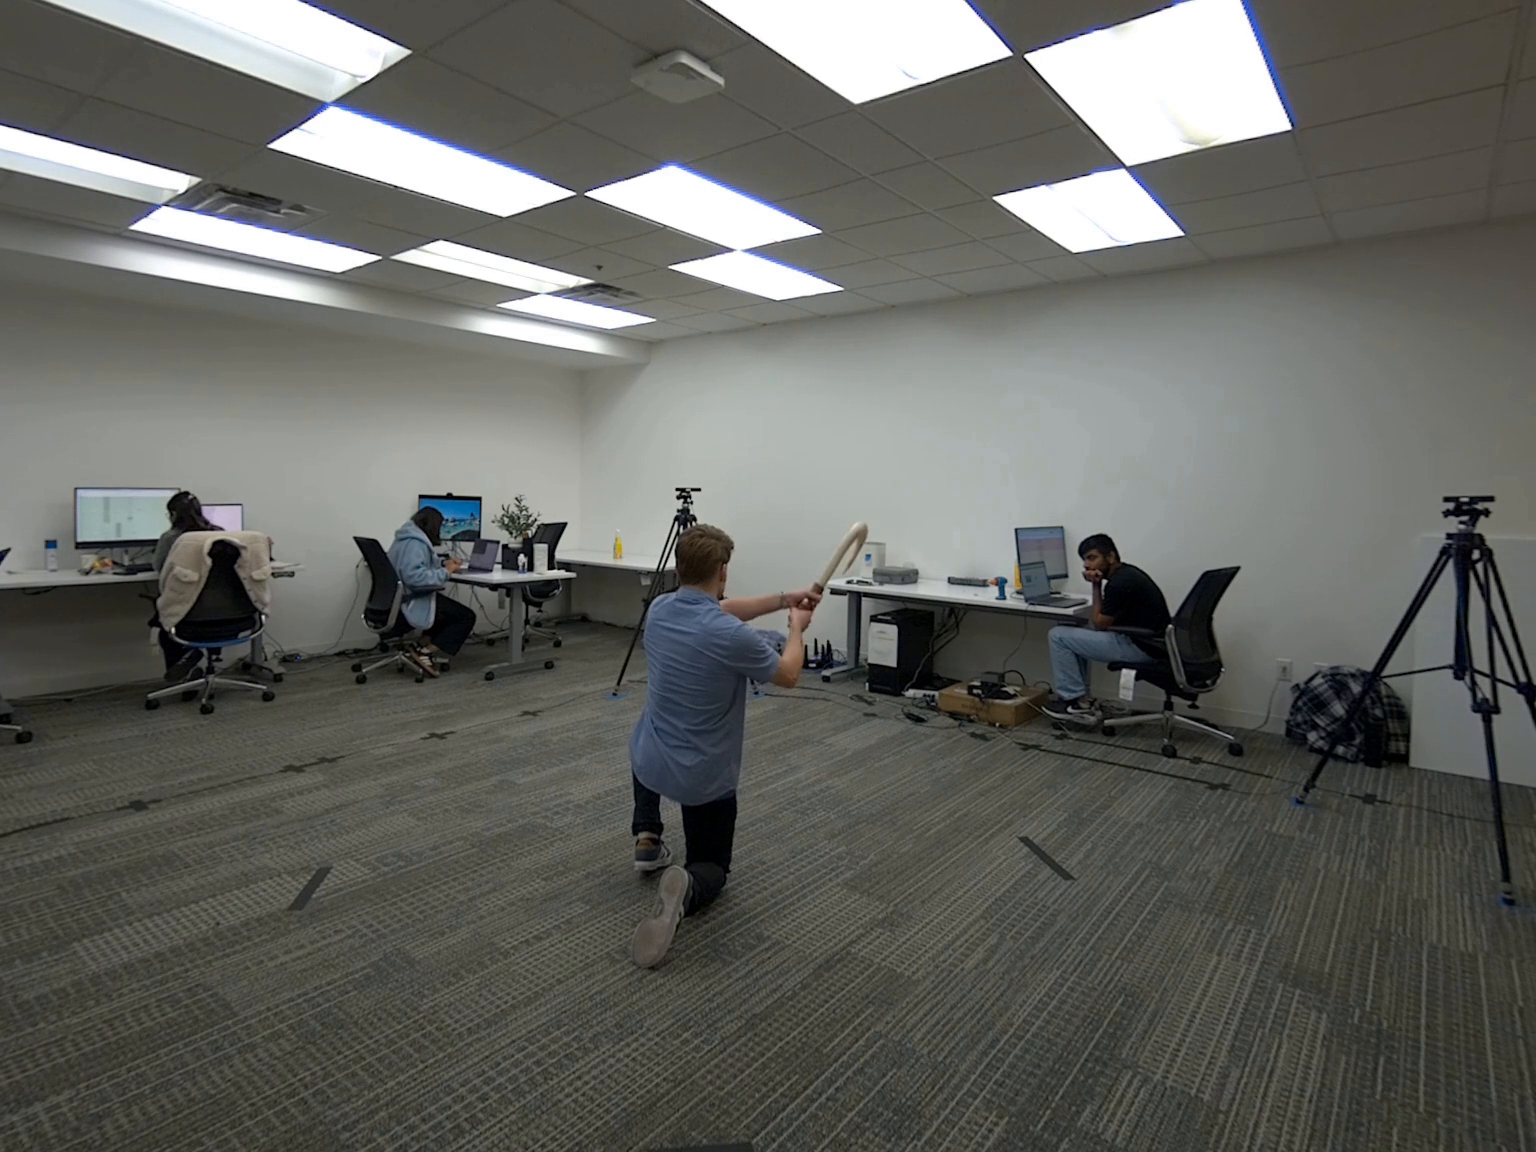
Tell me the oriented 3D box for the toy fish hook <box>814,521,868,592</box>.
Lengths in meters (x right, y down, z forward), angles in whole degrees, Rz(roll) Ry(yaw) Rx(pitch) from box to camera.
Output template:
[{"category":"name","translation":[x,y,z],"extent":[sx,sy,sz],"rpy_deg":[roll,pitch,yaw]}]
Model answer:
[{"category":"toy fish hook","translation":[0.212,0.026,3.245],"extent":[0.050,0.507,0.216],"rpy_deg":[30,-11,27]}]
